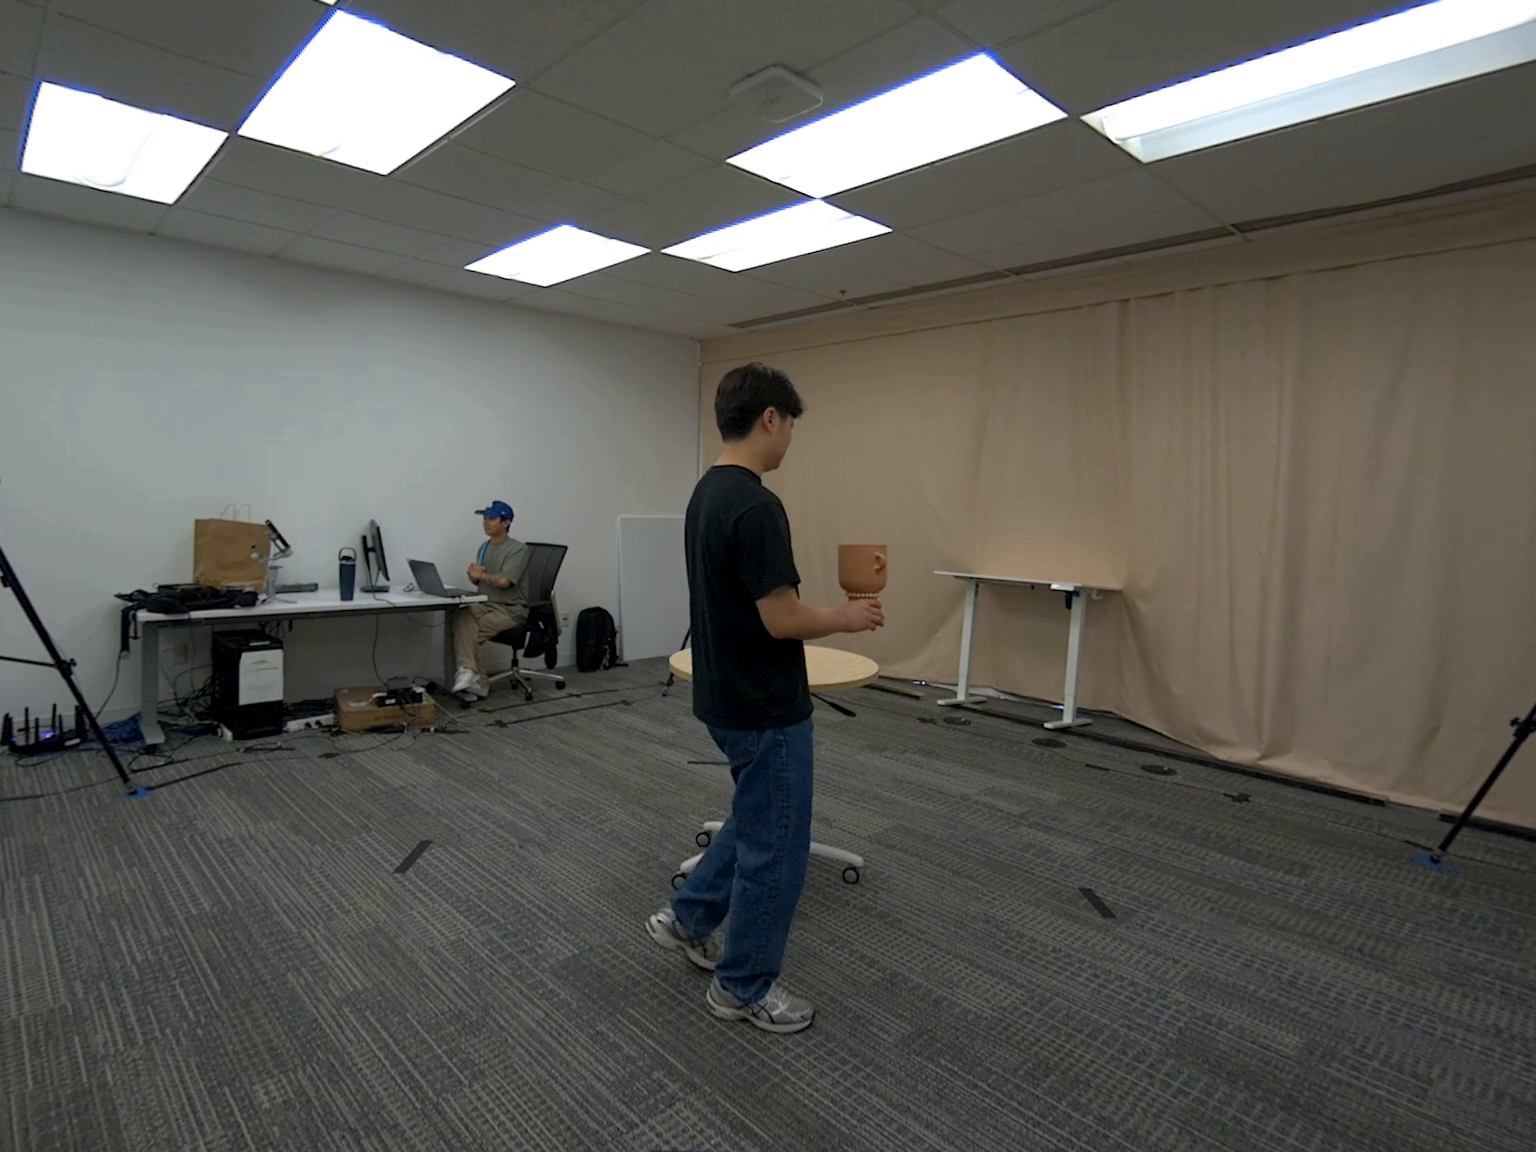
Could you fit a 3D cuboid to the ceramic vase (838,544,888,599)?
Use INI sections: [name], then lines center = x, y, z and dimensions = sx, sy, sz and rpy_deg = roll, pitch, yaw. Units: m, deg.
[ceramic vase]
center = 0.247, 0.024, 2.292
dimensions = 0.136, 0.220, 0.157
rpy_deg = 0, 1, 14
